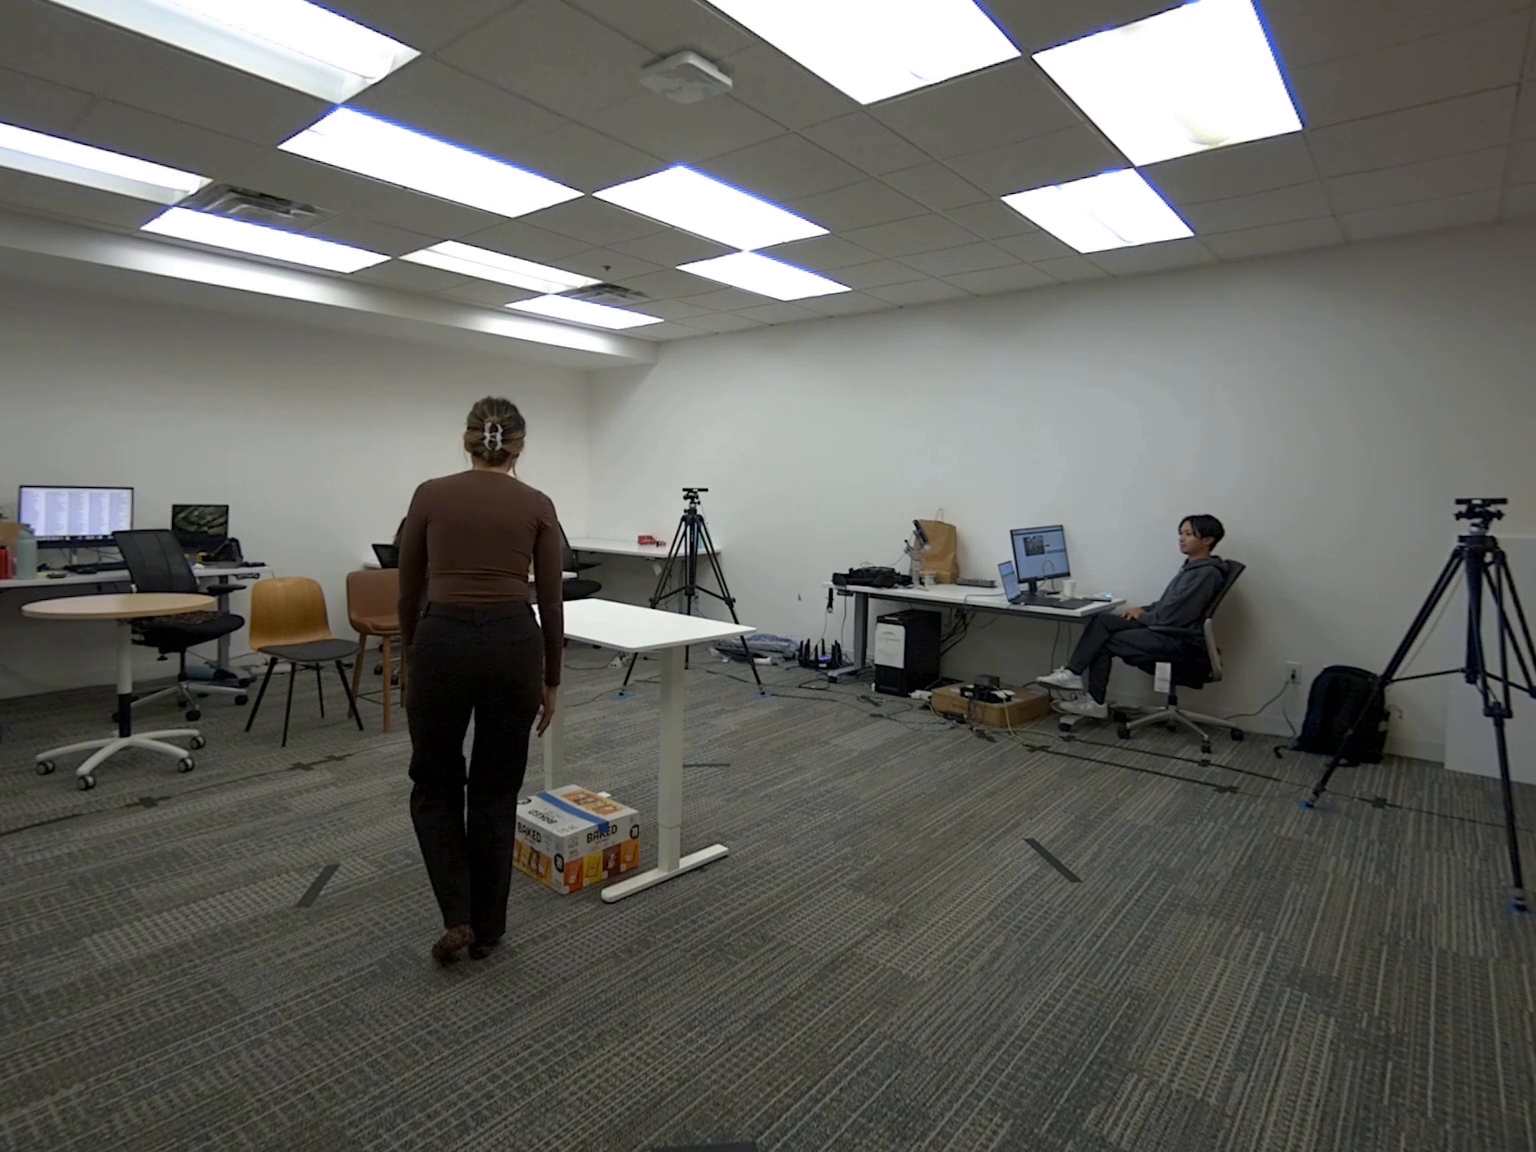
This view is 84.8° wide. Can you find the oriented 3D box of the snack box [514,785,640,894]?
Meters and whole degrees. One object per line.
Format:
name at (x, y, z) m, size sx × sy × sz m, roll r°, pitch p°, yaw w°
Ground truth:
snack box at (-0.748, 0.957, 3.135) m, size 0.419 × 0.205 × 0.330 m, roll 5°, pitch 6°, yaw 42°
